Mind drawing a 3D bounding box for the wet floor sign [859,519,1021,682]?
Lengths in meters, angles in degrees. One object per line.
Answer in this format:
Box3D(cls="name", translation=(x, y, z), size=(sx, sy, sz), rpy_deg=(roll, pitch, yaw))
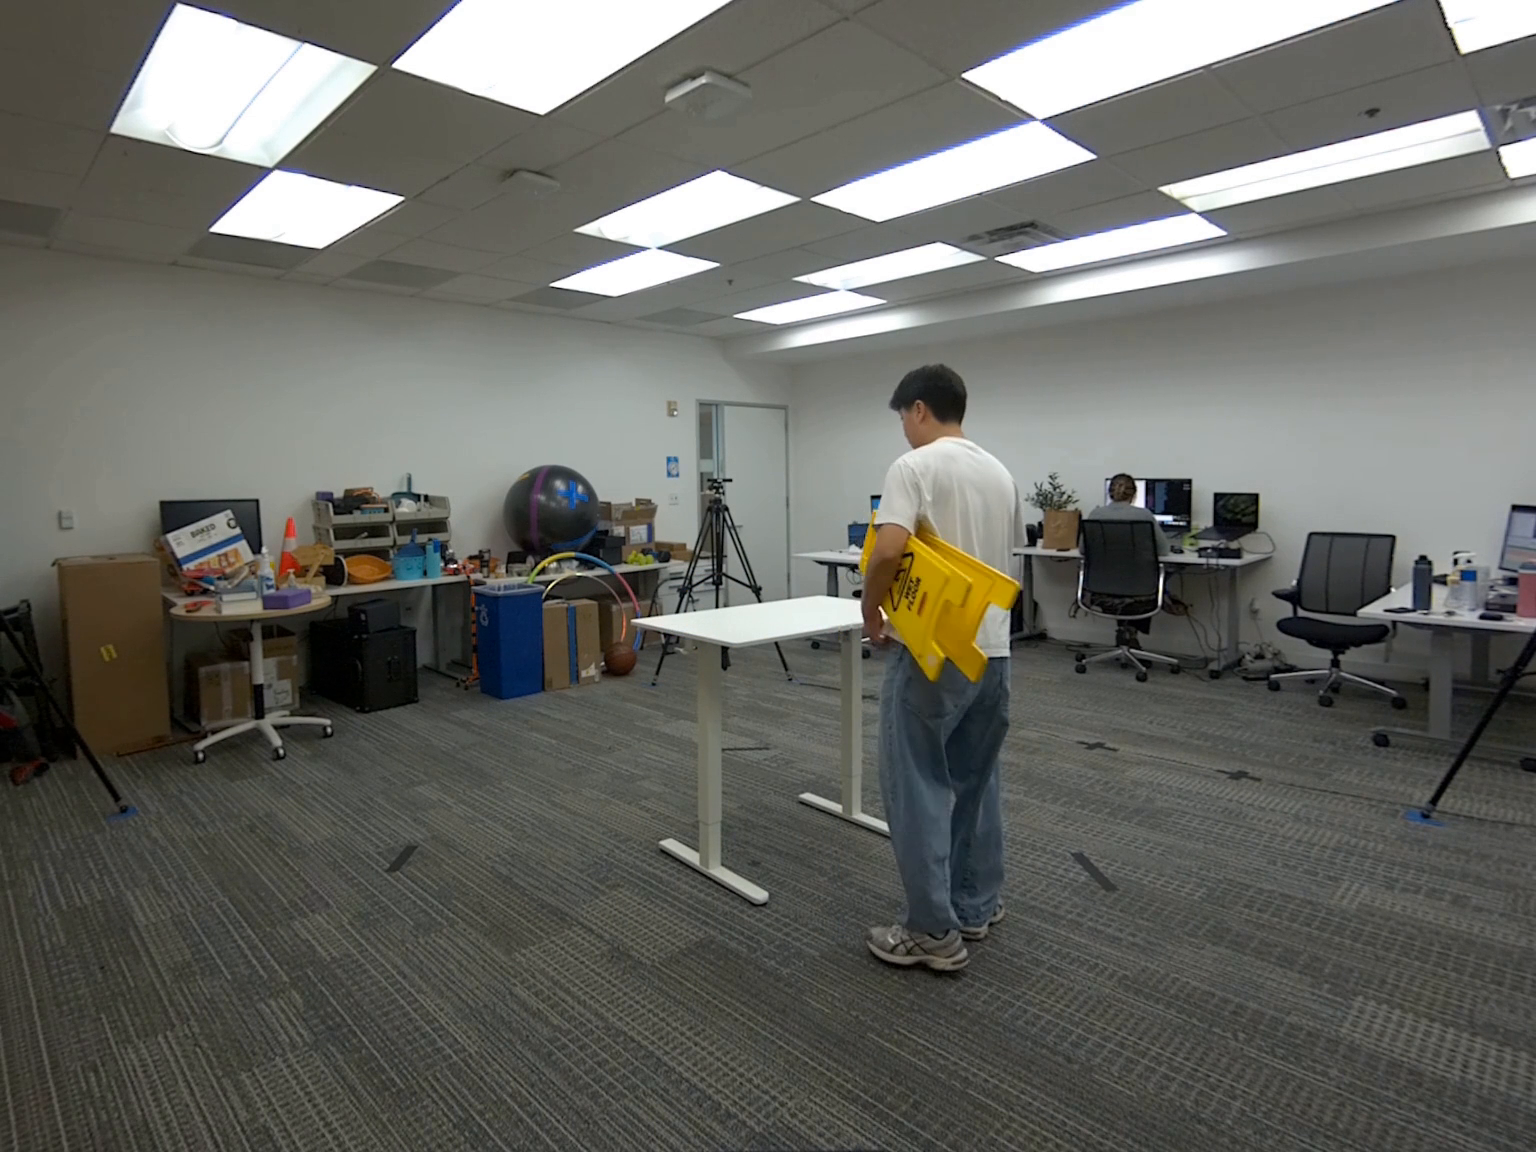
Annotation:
Box3D(cls="wet floor sign", translation=(0.406, 0.019, 2.386), size=(0.284, 0.279, 0.666), rpy_deg=(6, 19, -20))
